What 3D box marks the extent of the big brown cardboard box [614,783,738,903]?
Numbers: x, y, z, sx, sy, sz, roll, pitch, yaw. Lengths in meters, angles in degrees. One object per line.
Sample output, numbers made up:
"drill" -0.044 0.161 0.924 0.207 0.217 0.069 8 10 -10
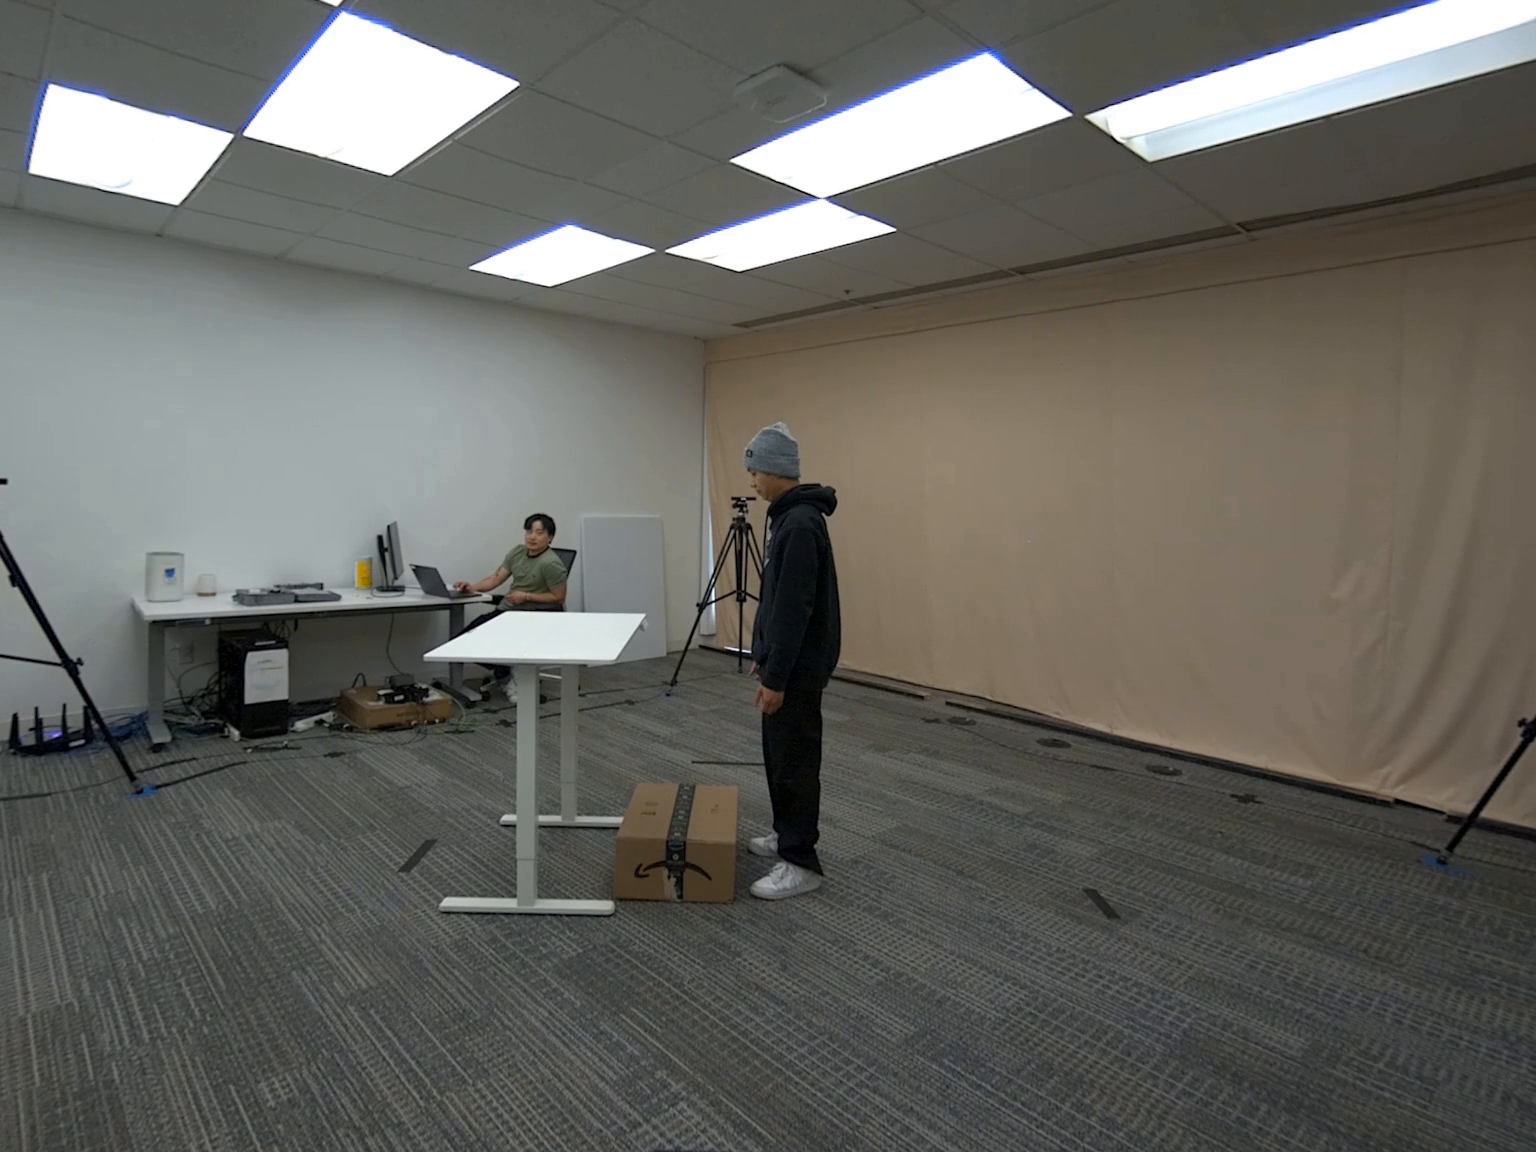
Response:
"big brown cardboard box" -0.327 0.983 3.167 0.418 0.232 0.590 1 4 0
